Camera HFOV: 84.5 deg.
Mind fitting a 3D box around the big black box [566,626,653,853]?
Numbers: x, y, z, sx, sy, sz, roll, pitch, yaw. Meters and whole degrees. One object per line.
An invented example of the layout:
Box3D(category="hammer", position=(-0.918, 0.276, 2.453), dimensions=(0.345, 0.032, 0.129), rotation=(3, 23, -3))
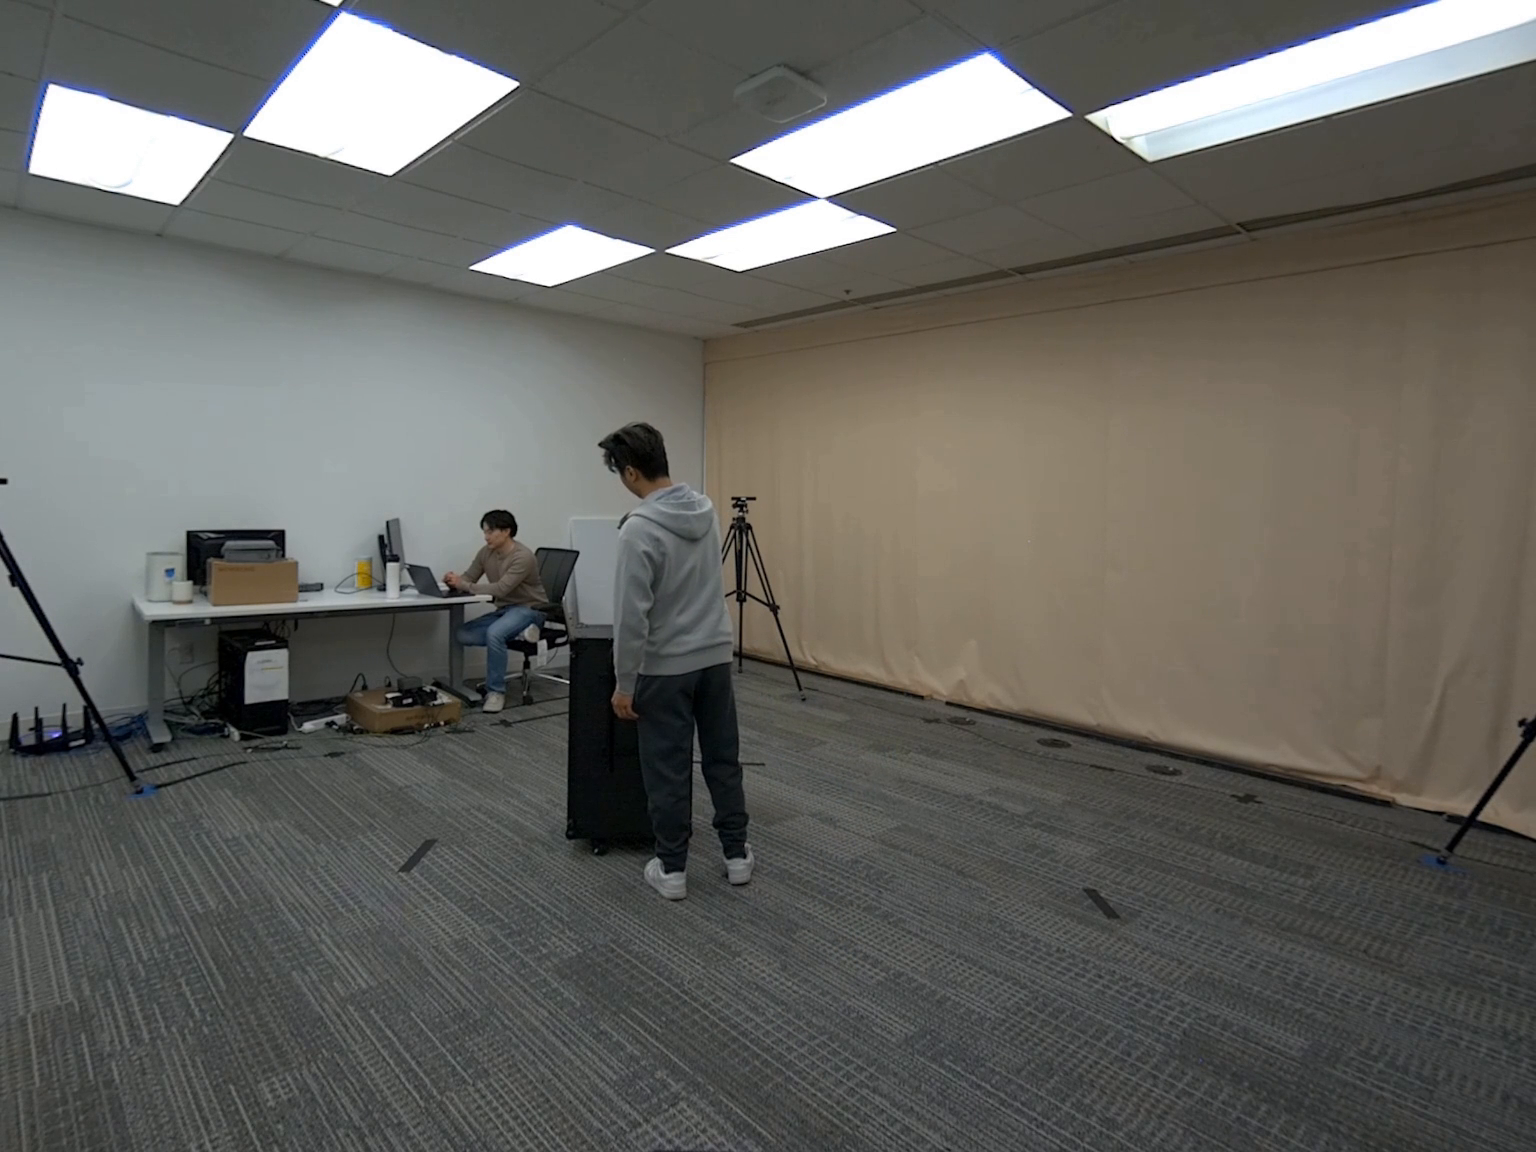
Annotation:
Box3D(category="big black box", position=(-0.556, 0.647, 3.402), dimensions=(0.518, 0.859, 0.399), rotation=(2, 3, -7))
